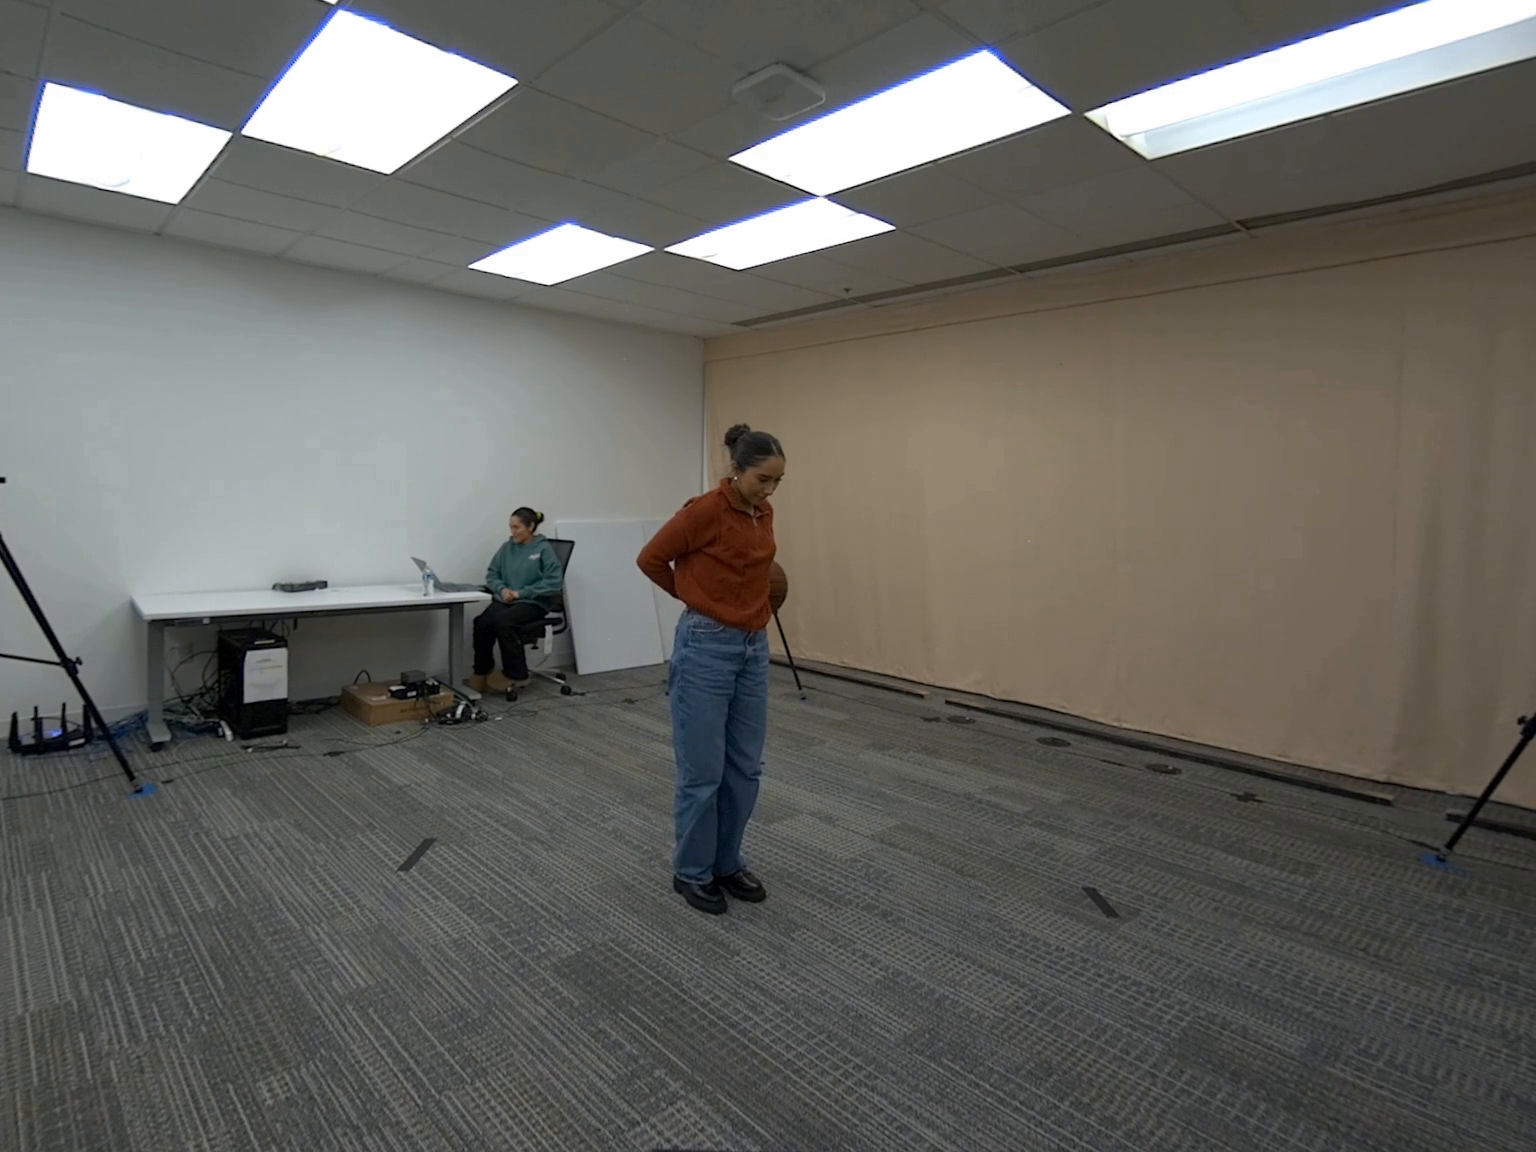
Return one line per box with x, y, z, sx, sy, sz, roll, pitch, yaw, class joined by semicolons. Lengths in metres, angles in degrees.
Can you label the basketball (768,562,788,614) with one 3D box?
-0.043;0.049;3.153;0.236;0.235;0.237;1;4;-1;basketball
